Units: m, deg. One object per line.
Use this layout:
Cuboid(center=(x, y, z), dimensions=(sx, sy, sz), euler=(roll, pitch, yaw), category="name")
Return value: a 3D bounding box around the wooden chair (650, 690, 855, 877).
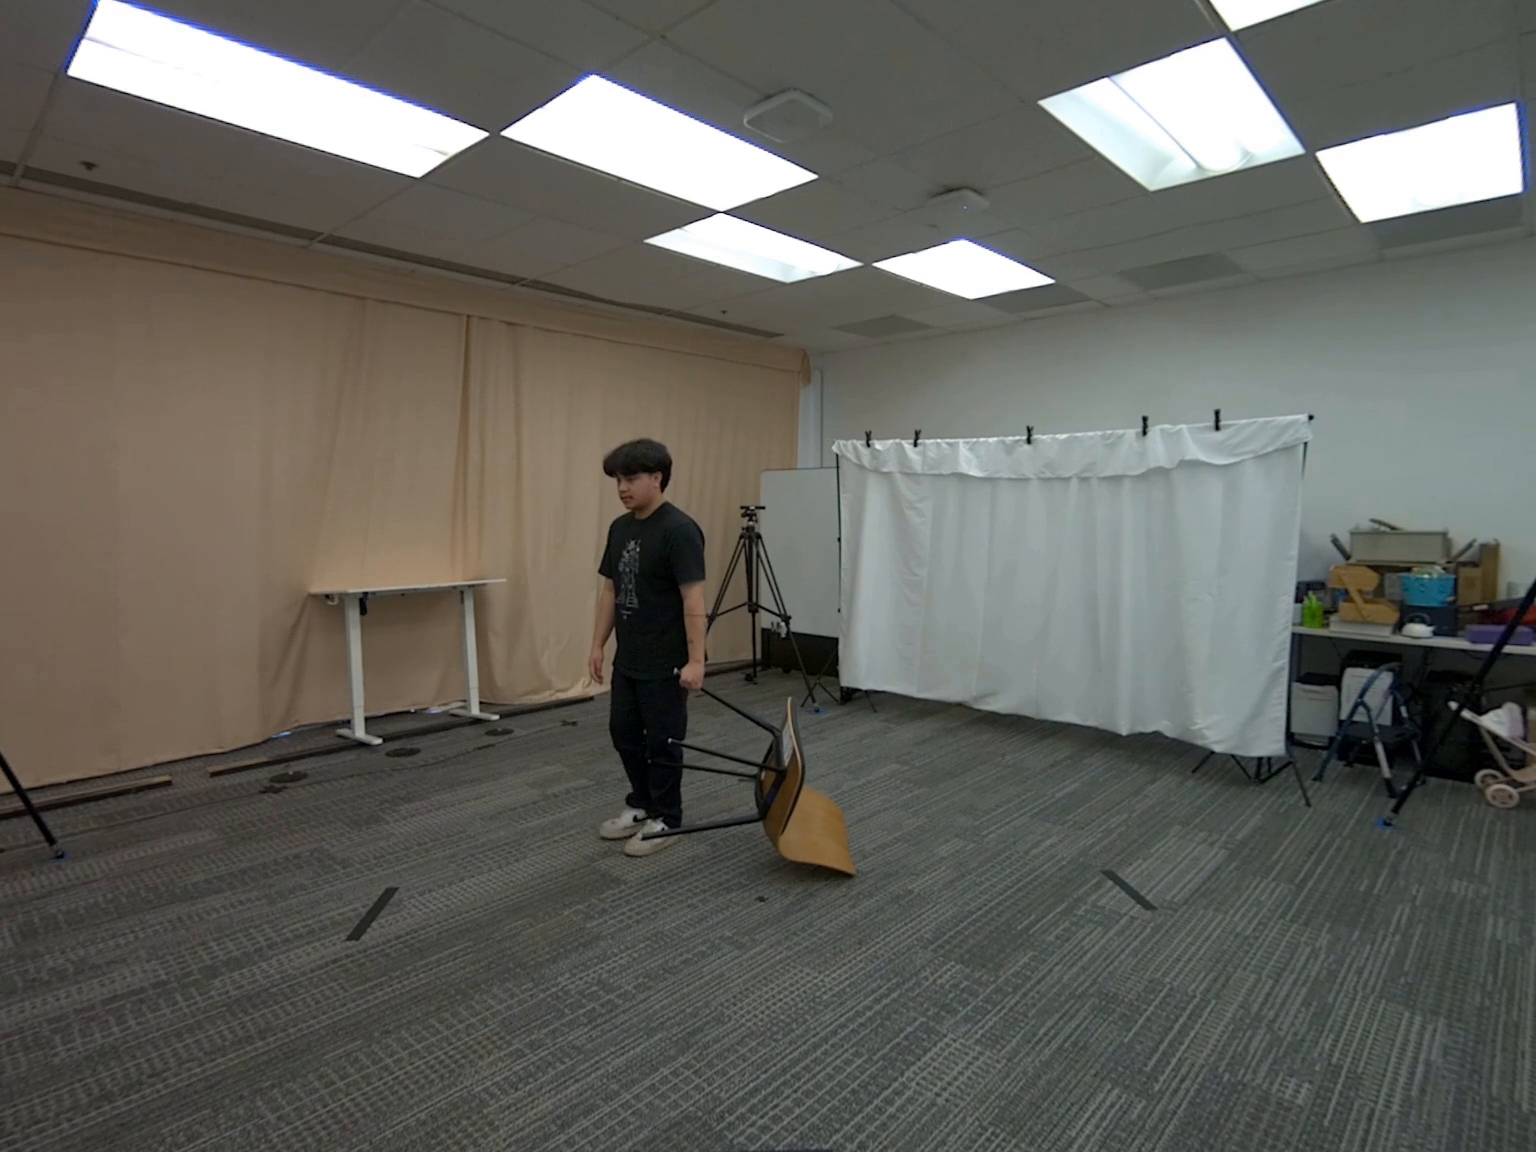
Cuboid(center=(0.006, 0.753, 3.169), dimensions=(0.868, 0.521, 0.485), euler=(17, 23, -9), category="wooden chair")
